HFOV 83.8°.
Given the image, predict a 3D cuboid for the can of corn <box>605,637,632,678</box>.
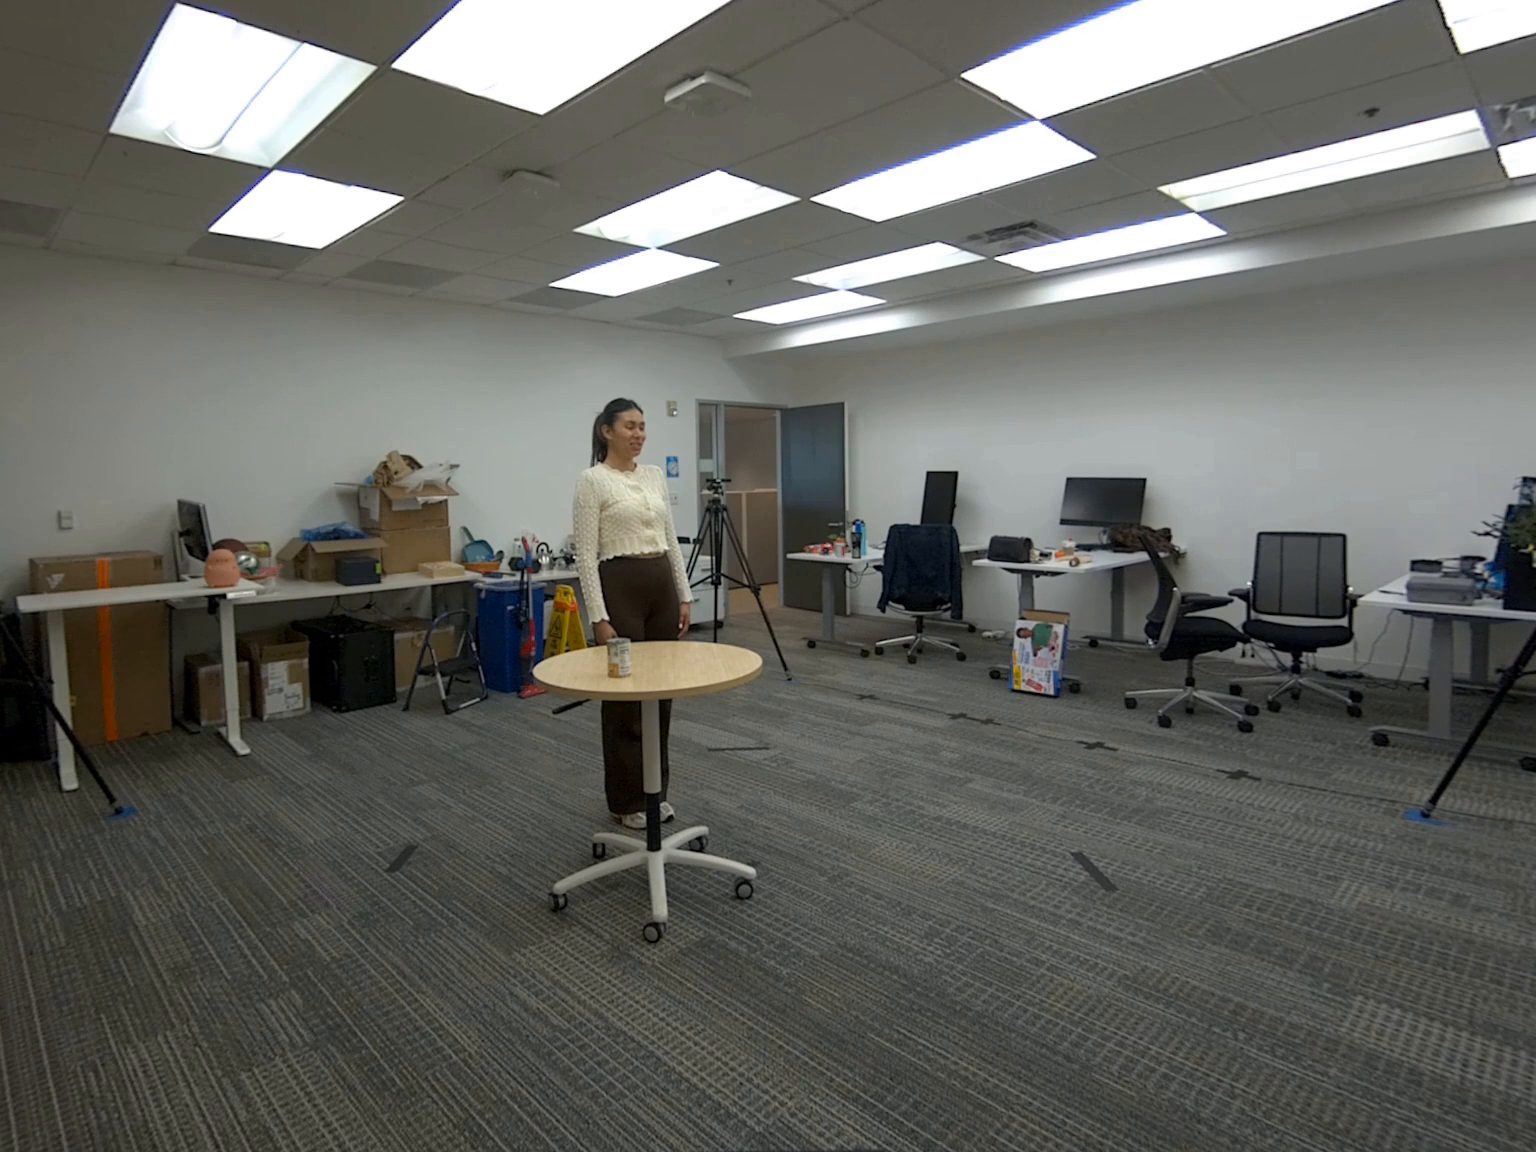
[{"bbox_3d":[-0.473,0.263,2.704,0.074,0.110,0.074,-4,4,-1],"label":"can of corn"}]
